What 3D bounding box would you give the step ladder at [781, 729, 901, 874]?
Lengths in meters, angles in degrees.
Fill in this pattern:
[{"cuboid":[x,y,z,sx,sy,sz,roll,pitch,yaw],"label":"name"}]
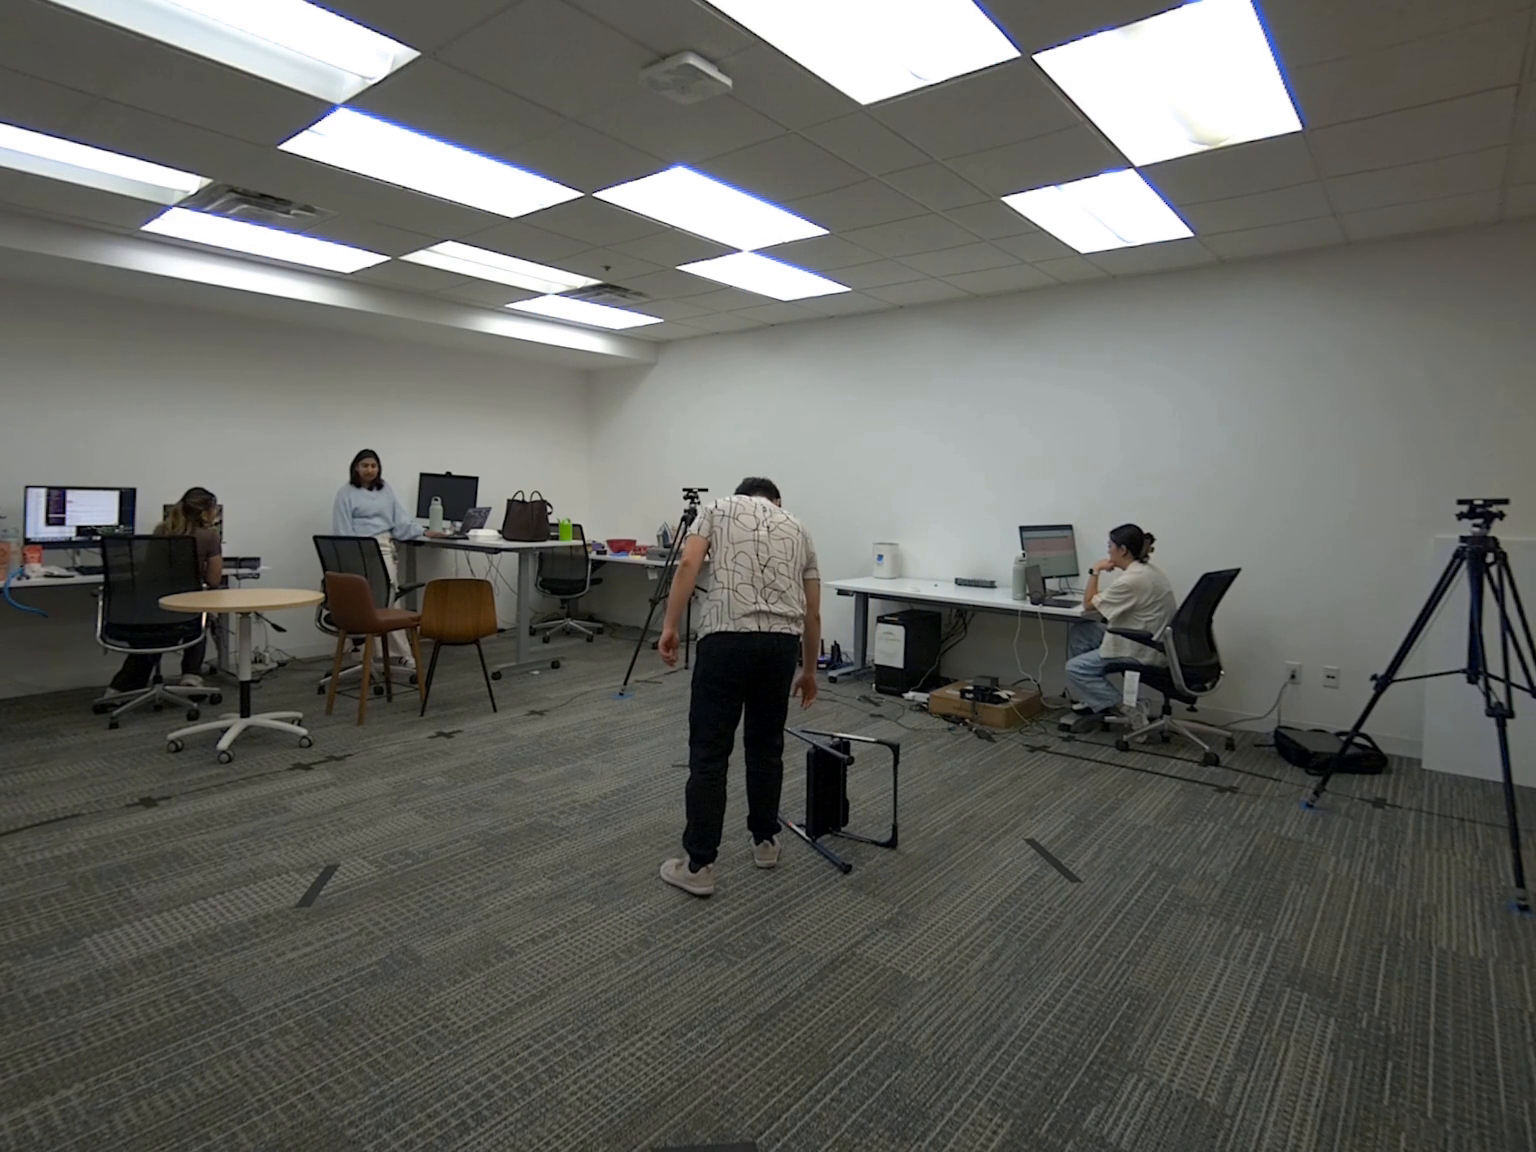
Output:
[{"cuboid":[0.169,0.836,3.420,0.627,0.430,0.338,5,4,44],"label":"step ladder"}]
